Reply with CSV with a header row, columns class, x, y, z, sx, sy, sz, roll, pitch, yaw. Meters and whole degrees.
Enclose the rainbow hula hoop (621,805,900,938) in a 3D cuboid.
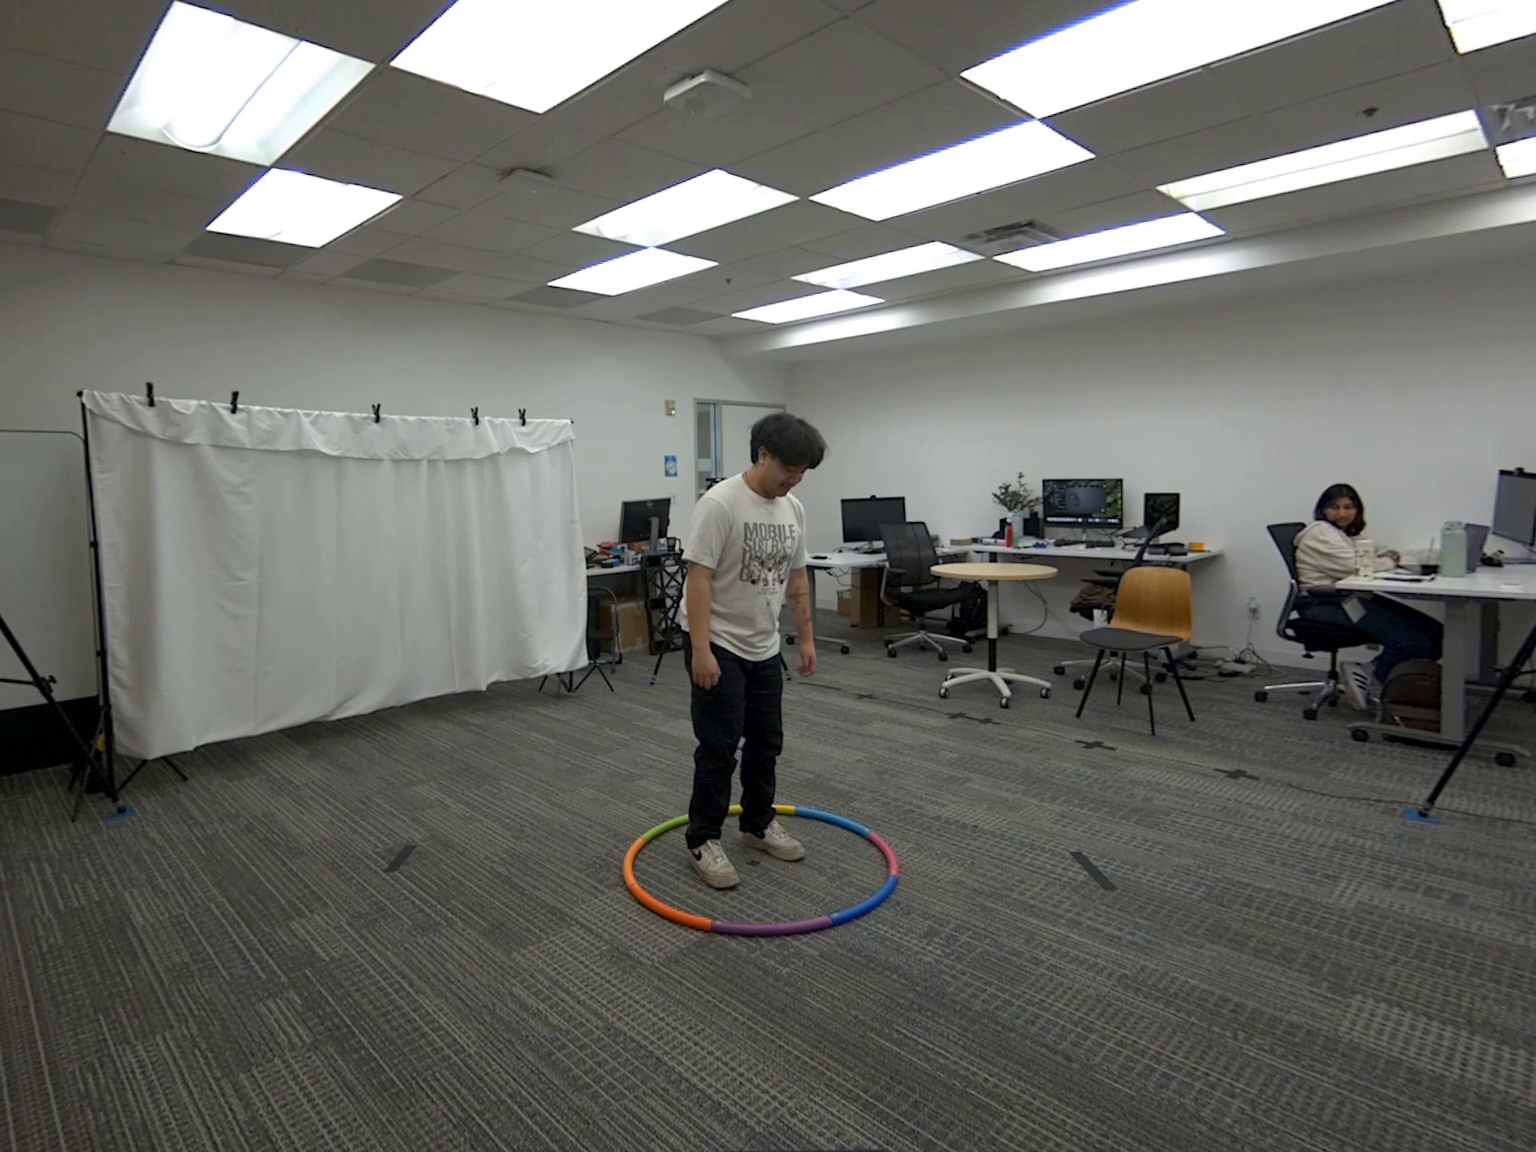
class,x,y,z,sx,sy,sz,roll,pitch,yaw
rainbow hula hoop,-0.028,1.020,3.091,0.985,0.051,0.991,-1,6,-2
